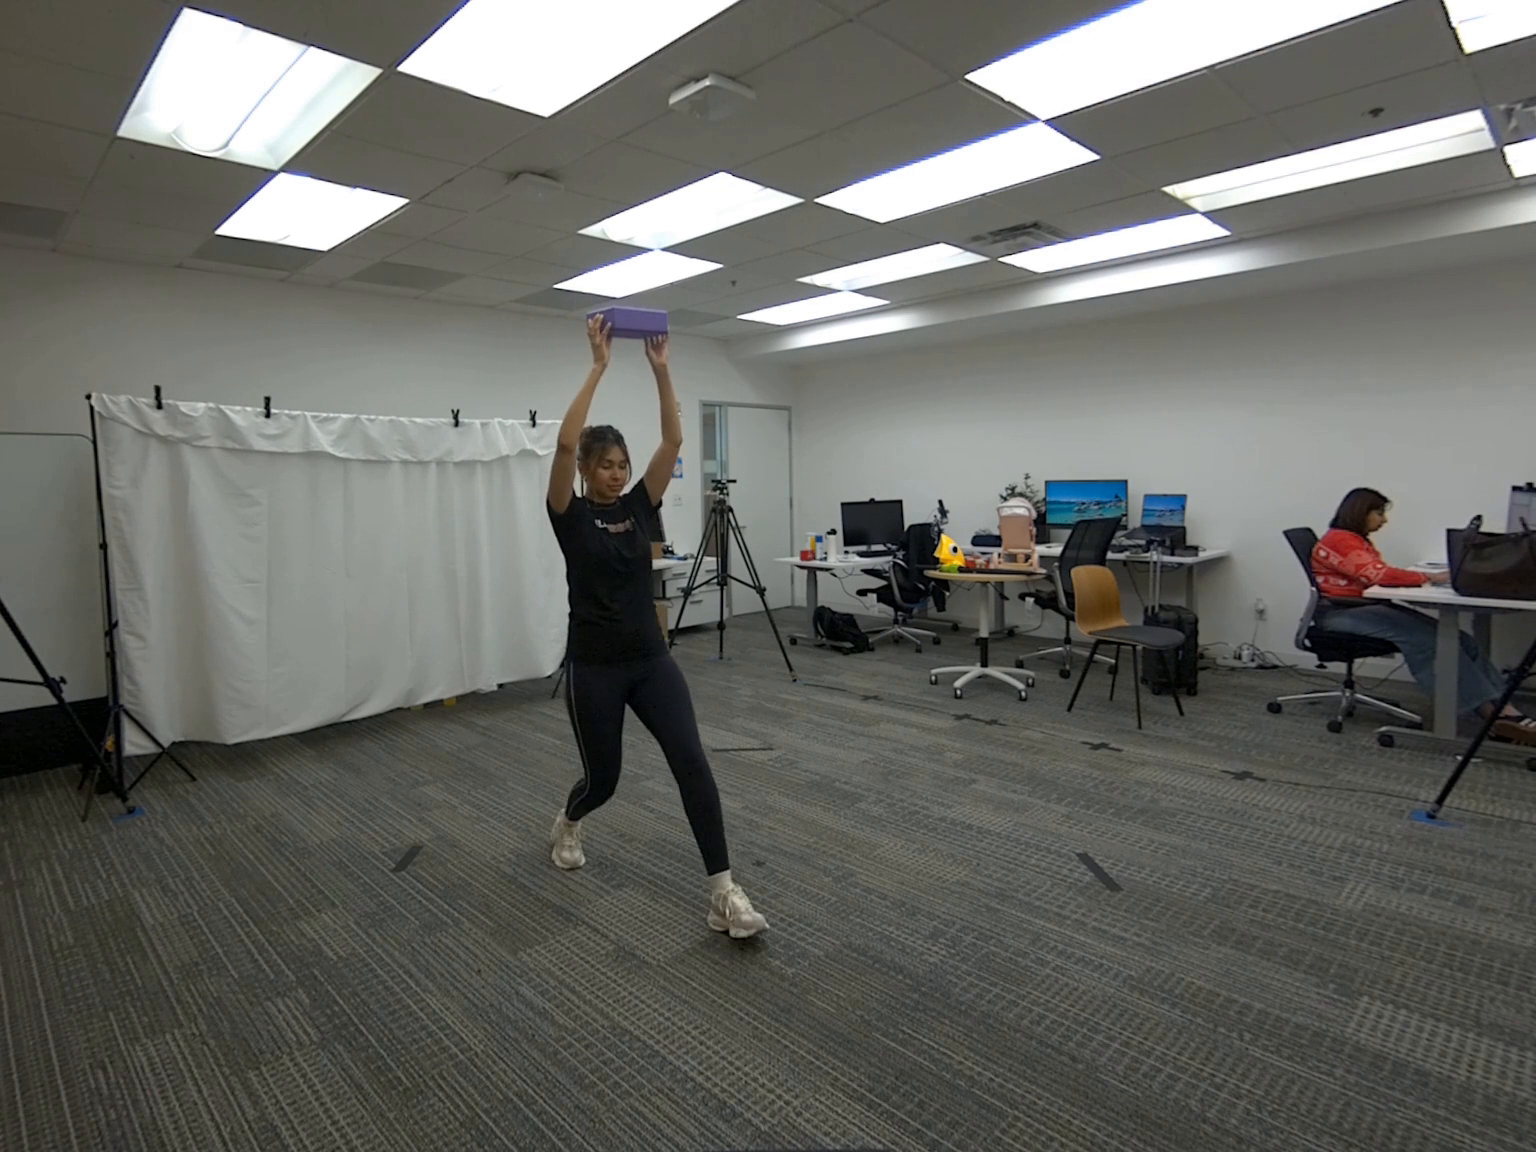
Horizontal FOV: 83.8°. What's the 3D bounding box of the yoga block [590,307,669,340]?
[{"bbox_3d":[-0.450,-0.821,2.763,0.224,0.076,0.154,-11,13,-44],"label":"yoga block"}]
